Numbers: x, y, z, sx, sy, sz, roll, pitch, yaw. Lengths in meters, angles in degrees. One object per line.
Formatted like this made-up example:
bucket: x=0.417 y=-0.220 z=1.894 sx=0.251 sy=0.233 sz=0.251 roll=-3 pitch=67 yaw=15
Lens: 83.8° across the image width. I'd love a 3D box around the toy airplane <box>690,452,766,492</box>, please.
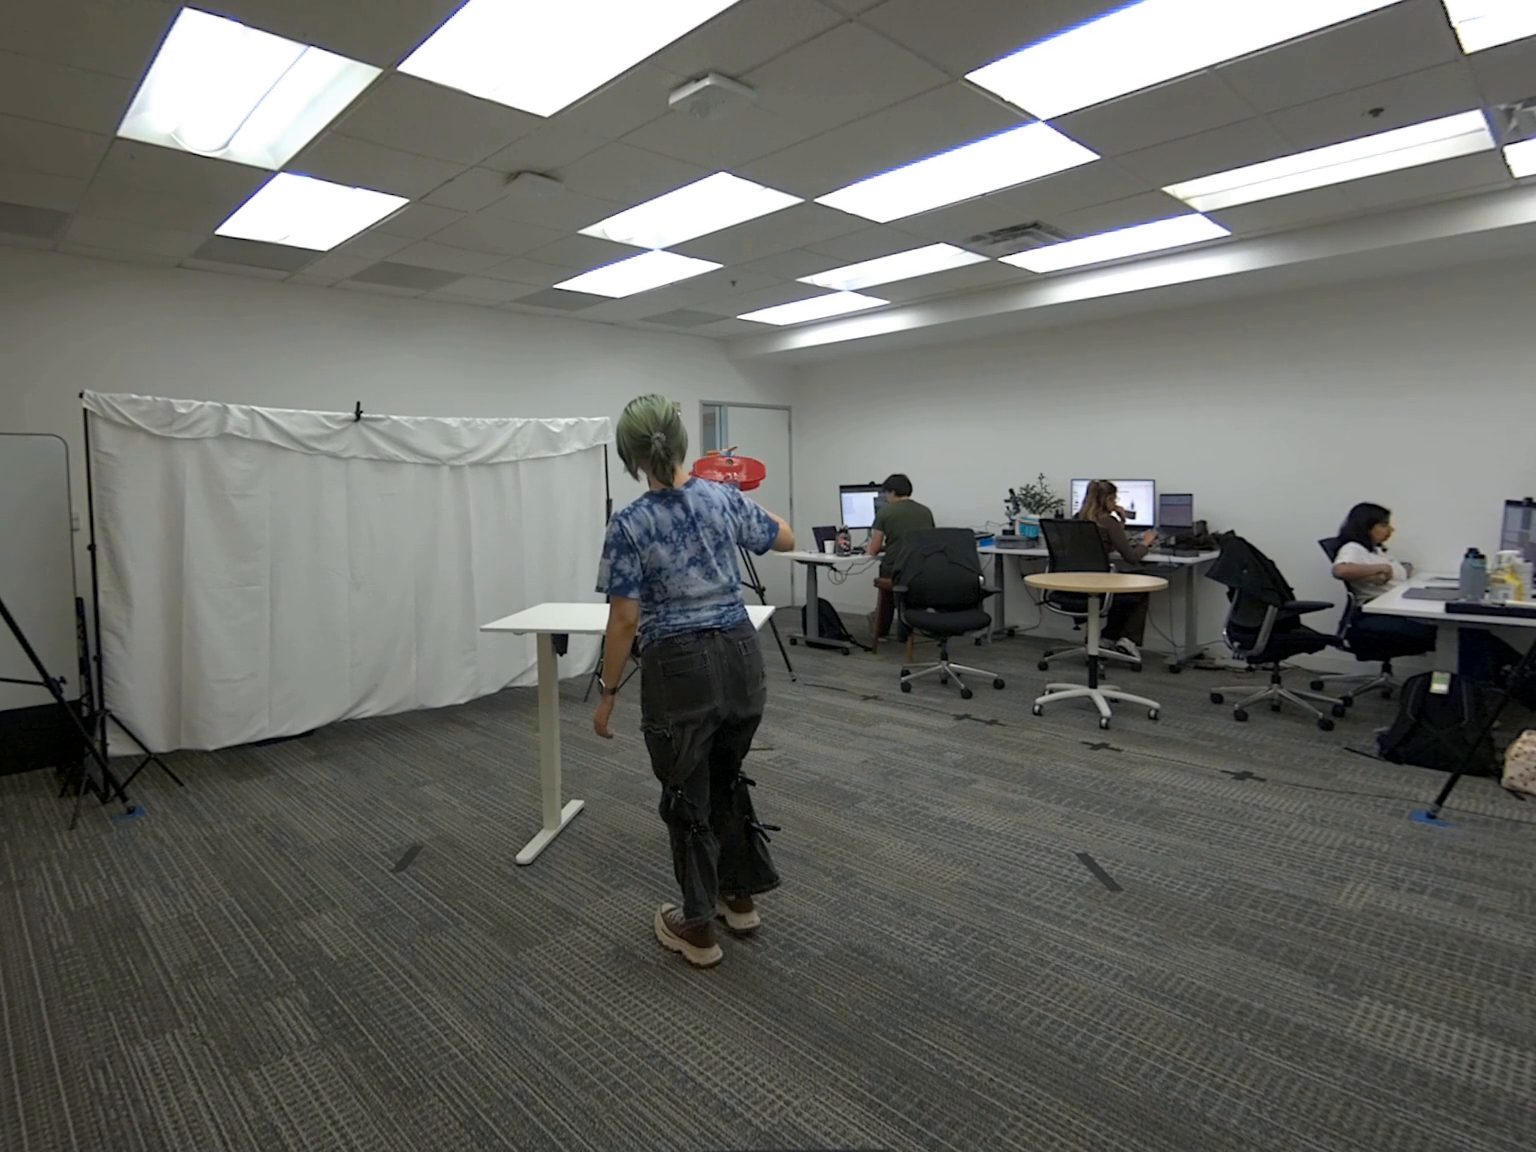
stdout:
toy airplane: x=-0.125 y=-0.314 z=2.973 sx=0.248 sy=0.266 sz=0.154 roll=-26 pitch=-24 yaw=-26
